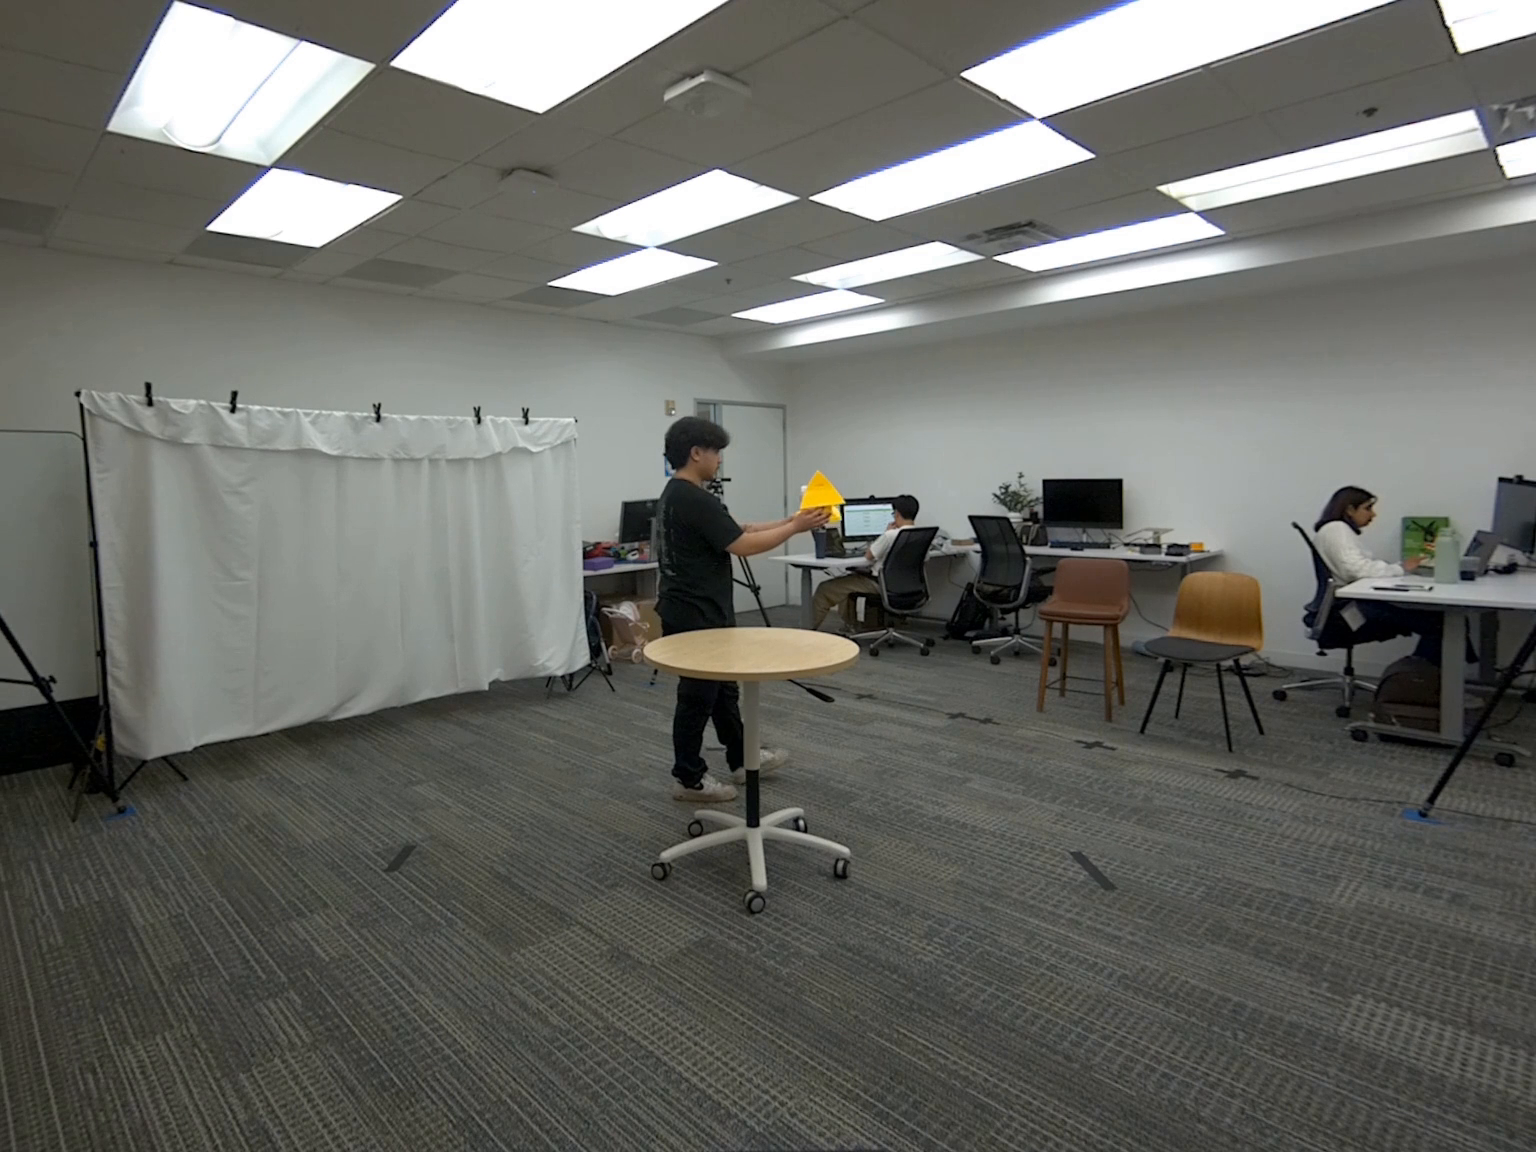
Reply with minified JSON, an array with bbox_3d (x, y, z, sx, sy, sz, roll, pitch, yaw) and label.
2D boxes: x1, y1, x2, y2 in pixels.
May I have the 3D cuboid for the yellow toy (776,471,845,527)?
[{"bbox_3d":[0.205,-0.348,3.740,0.203,0.229,0.196,-7,8,-12],"label":"yellow toy"}]
